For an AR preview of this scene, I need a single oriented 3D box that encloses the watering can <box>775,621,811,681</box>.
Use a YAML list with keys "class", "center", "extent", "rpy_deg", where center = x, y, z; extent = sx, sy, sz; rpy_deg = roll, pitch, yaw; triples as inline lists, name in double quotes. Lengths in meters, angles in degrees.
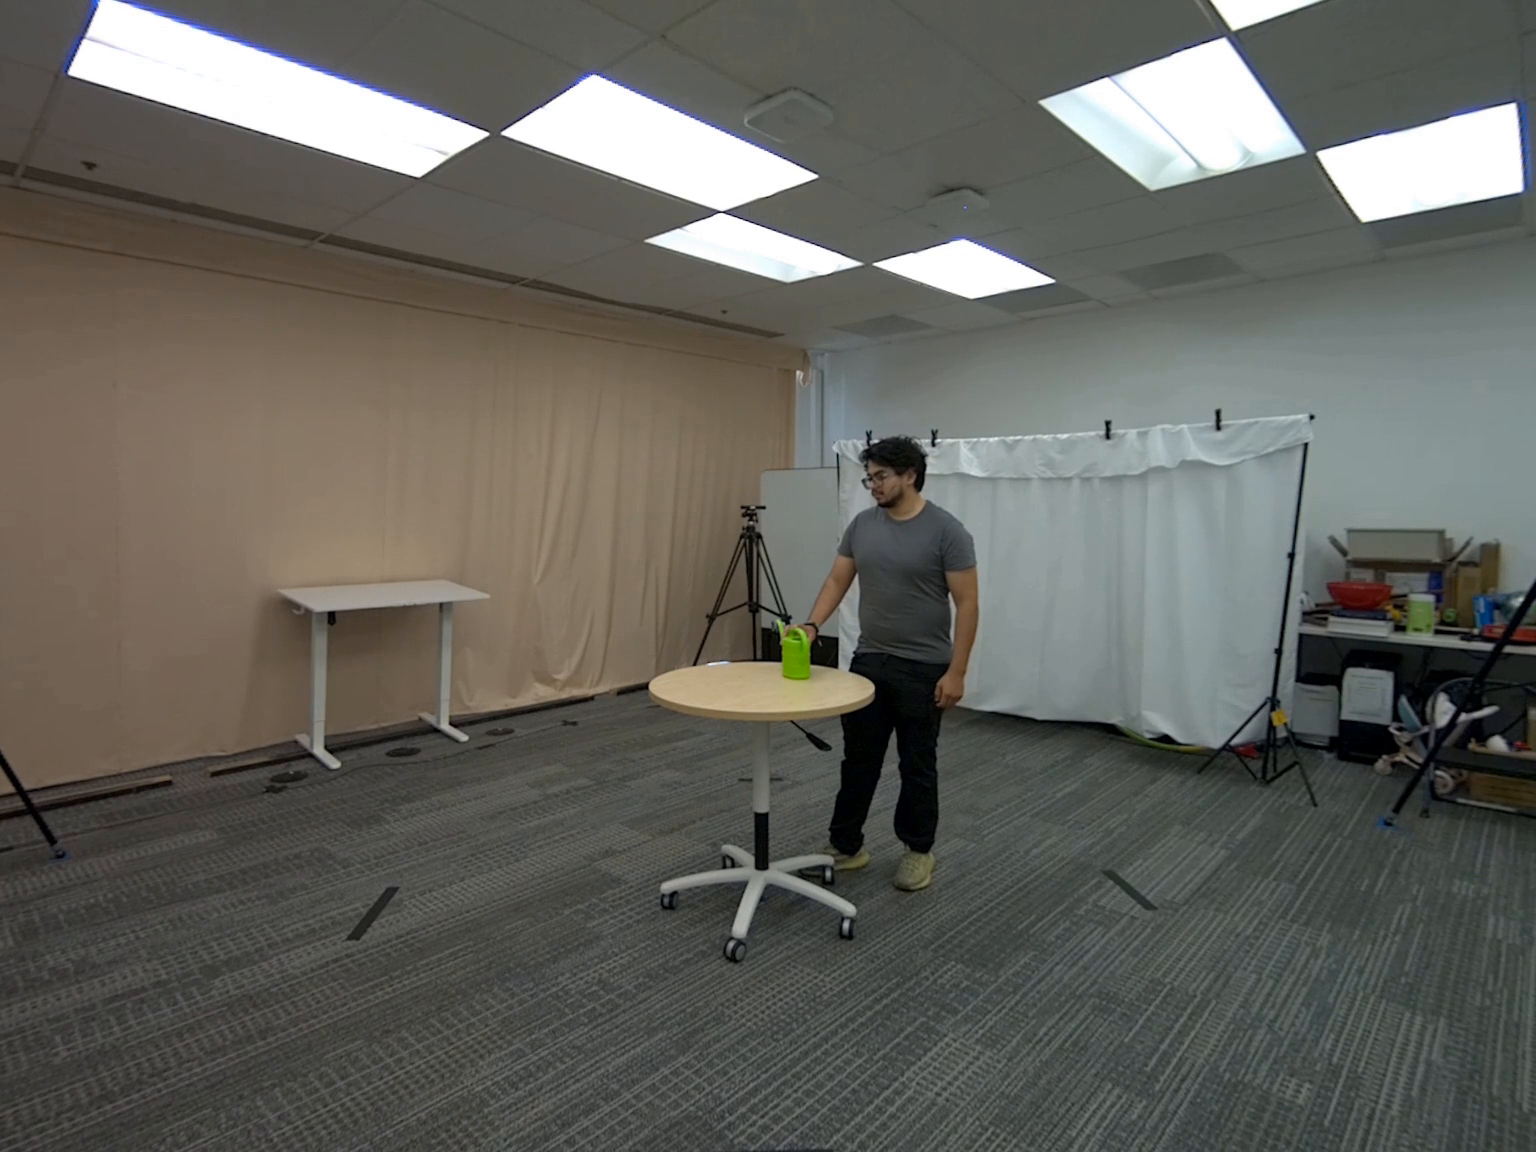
- class: "watering can"
  center: [0.099, 0.271, 3.041]
  extent: [0.097, 0.176, 0.282]
  rpy_deg: [-2, 7, -10]
